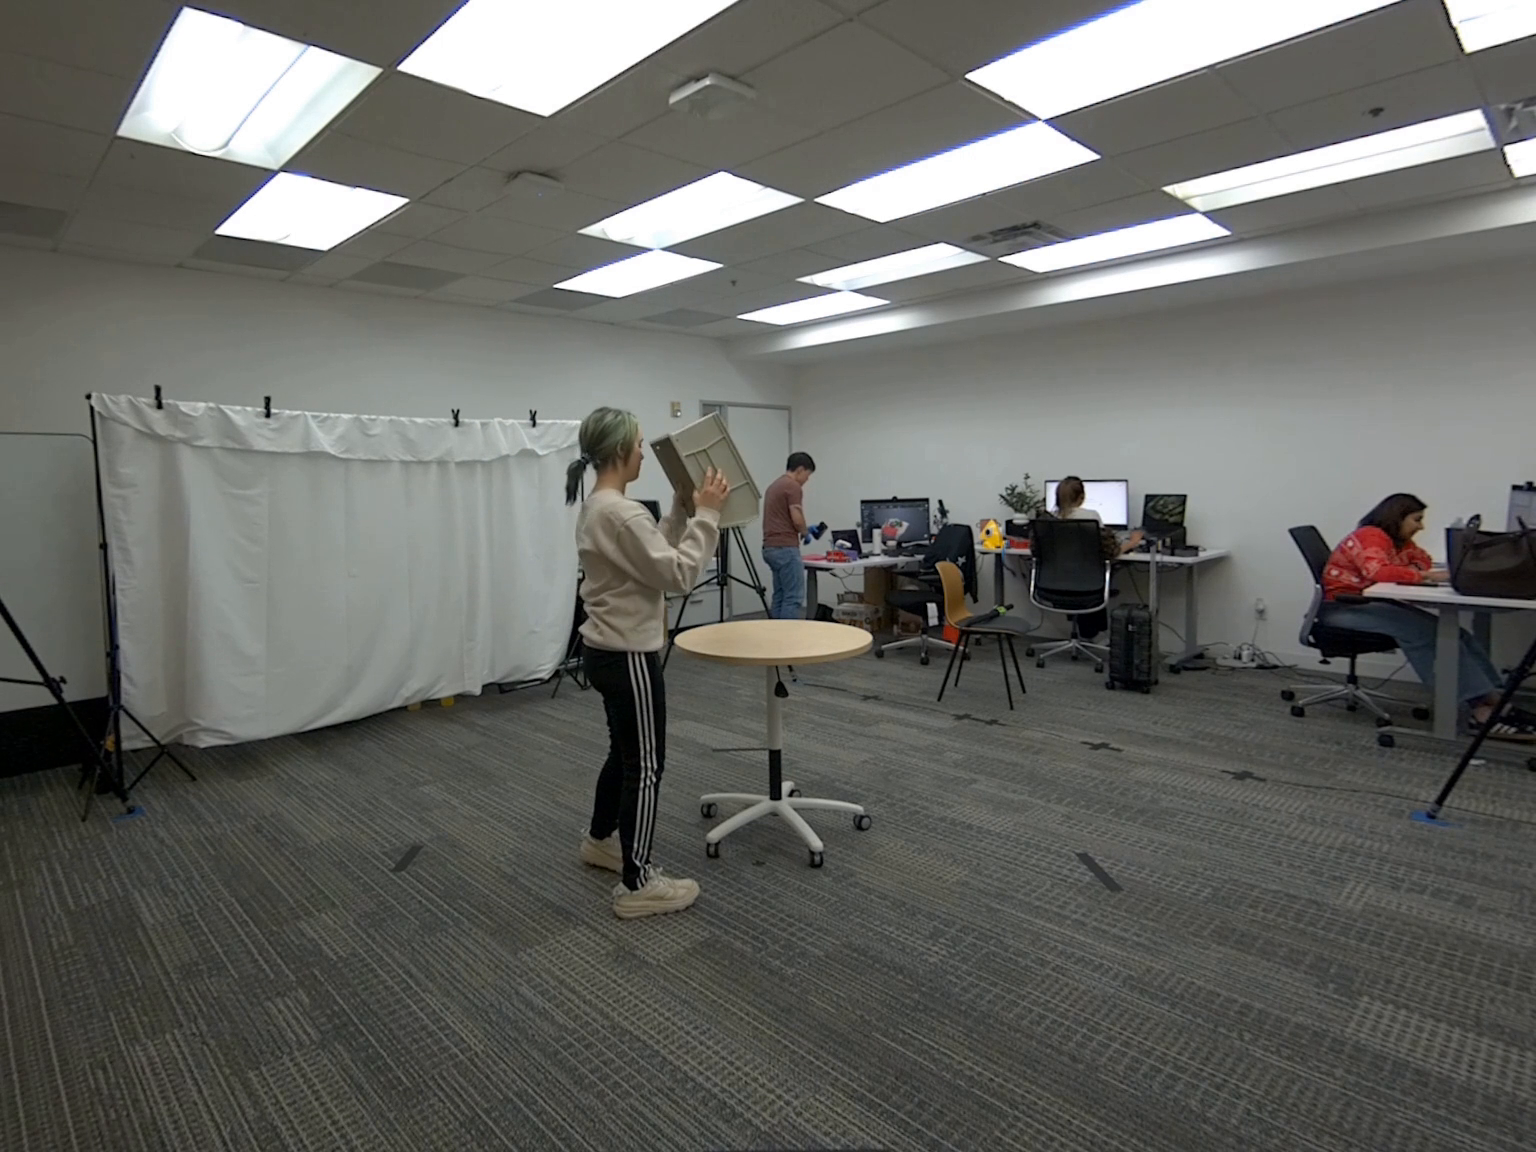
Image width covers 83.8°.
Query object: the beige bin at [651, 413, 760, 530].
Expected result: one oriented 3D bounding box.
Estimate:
[{"bbox_3d":[-0.215,-0.348,2.935,0.188,0.373,0.430,-28,11,-12],"label":"beige bin"}]
